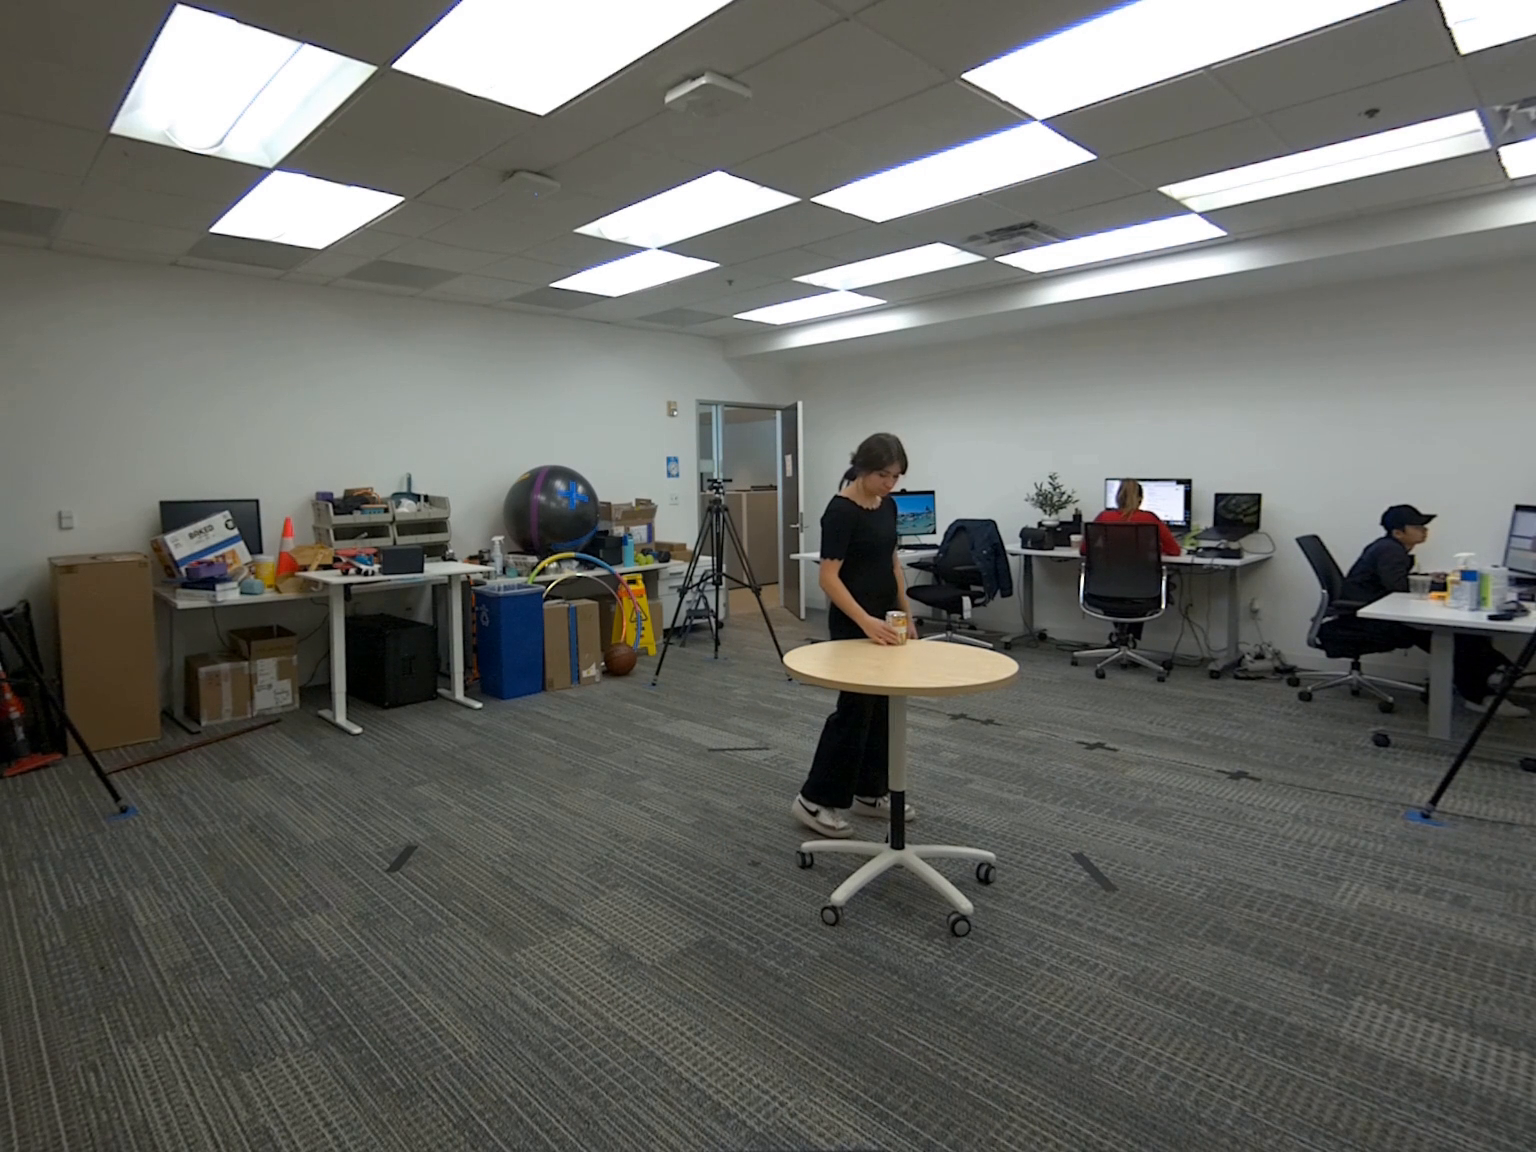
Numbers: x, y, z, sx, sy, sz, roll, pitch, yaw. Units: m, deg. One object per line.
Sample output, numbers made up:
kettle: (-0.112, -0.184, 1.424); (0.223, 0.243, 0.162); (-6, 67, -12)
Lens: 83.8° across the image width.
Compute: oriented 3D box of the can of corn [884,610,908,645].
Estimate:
can of corn: (0.467, 0.192, 3.141); (0.074, 0.111, 0.074); (-1, 3, -2)
